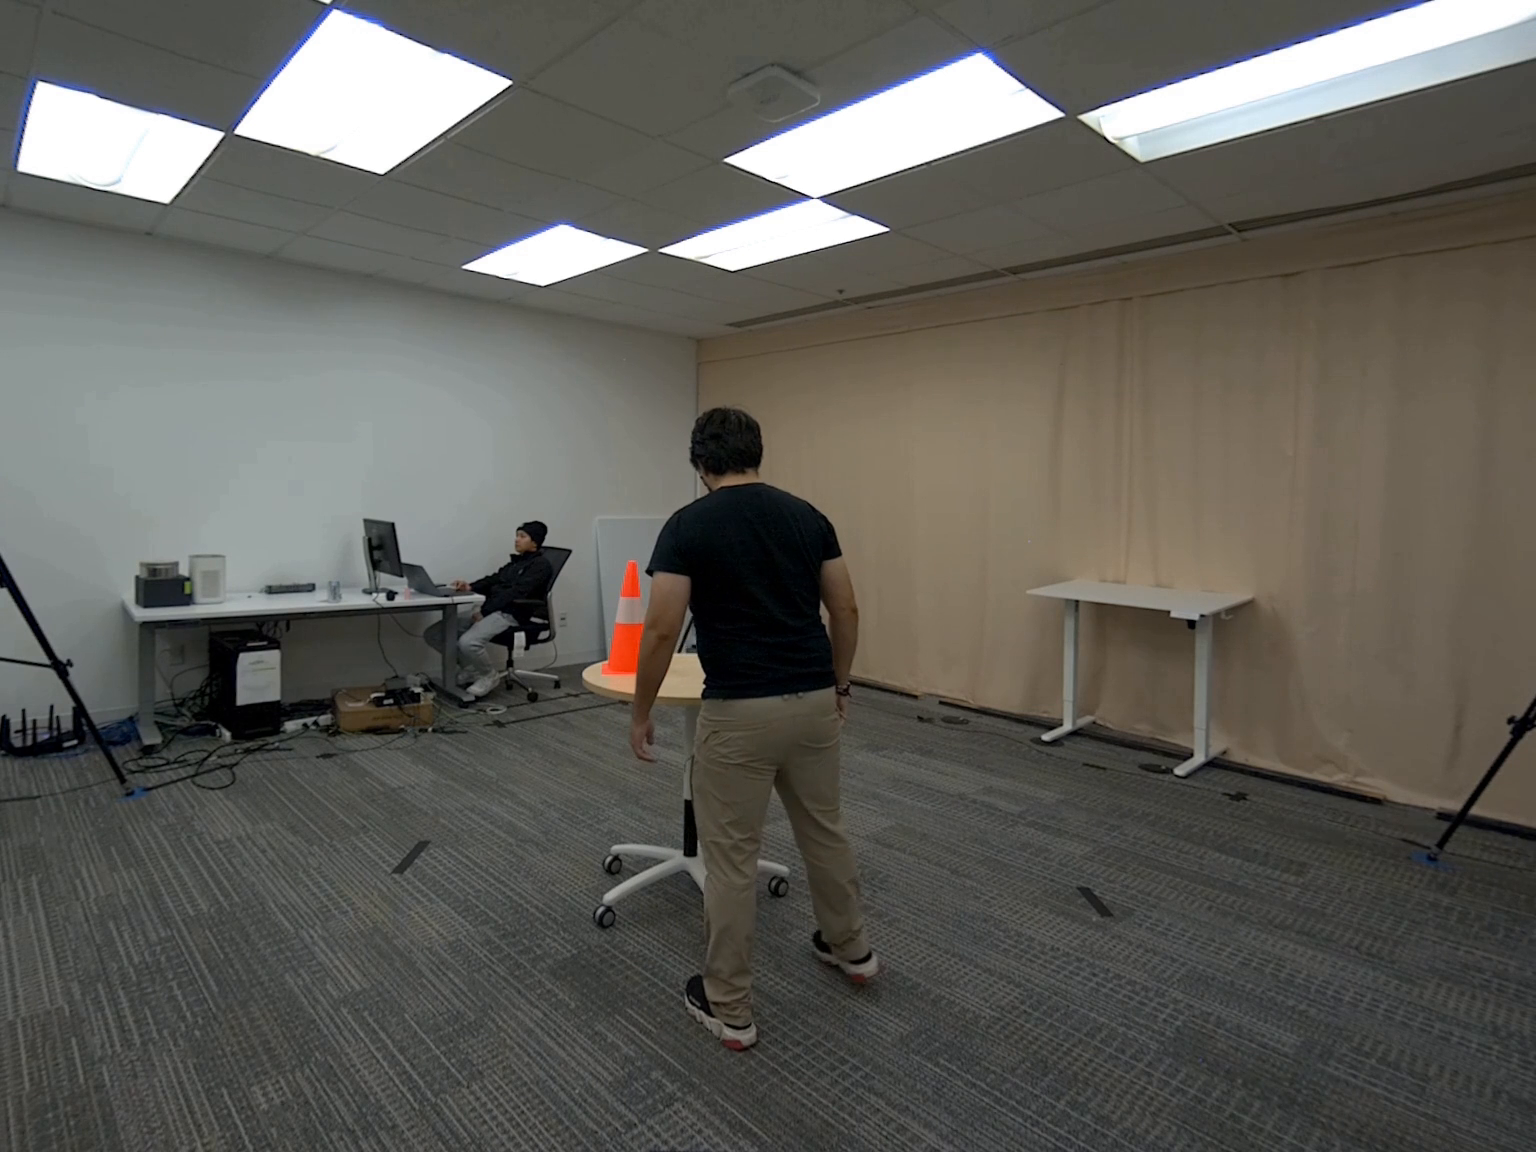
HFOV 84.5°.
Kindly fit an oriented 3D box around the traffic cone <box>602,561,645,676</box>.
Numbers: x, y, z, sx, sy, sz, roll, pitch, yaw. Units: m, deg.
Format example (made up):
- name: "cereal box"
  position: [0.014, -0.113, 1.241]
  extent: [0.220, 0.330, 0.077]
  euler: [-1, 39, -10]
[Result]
- name: "traffic cone"
  position: [-0.488, 0.145, 2.947]
  extent: [0.202, 0.383, 0.206]
  euler: [2, 3, -15]
